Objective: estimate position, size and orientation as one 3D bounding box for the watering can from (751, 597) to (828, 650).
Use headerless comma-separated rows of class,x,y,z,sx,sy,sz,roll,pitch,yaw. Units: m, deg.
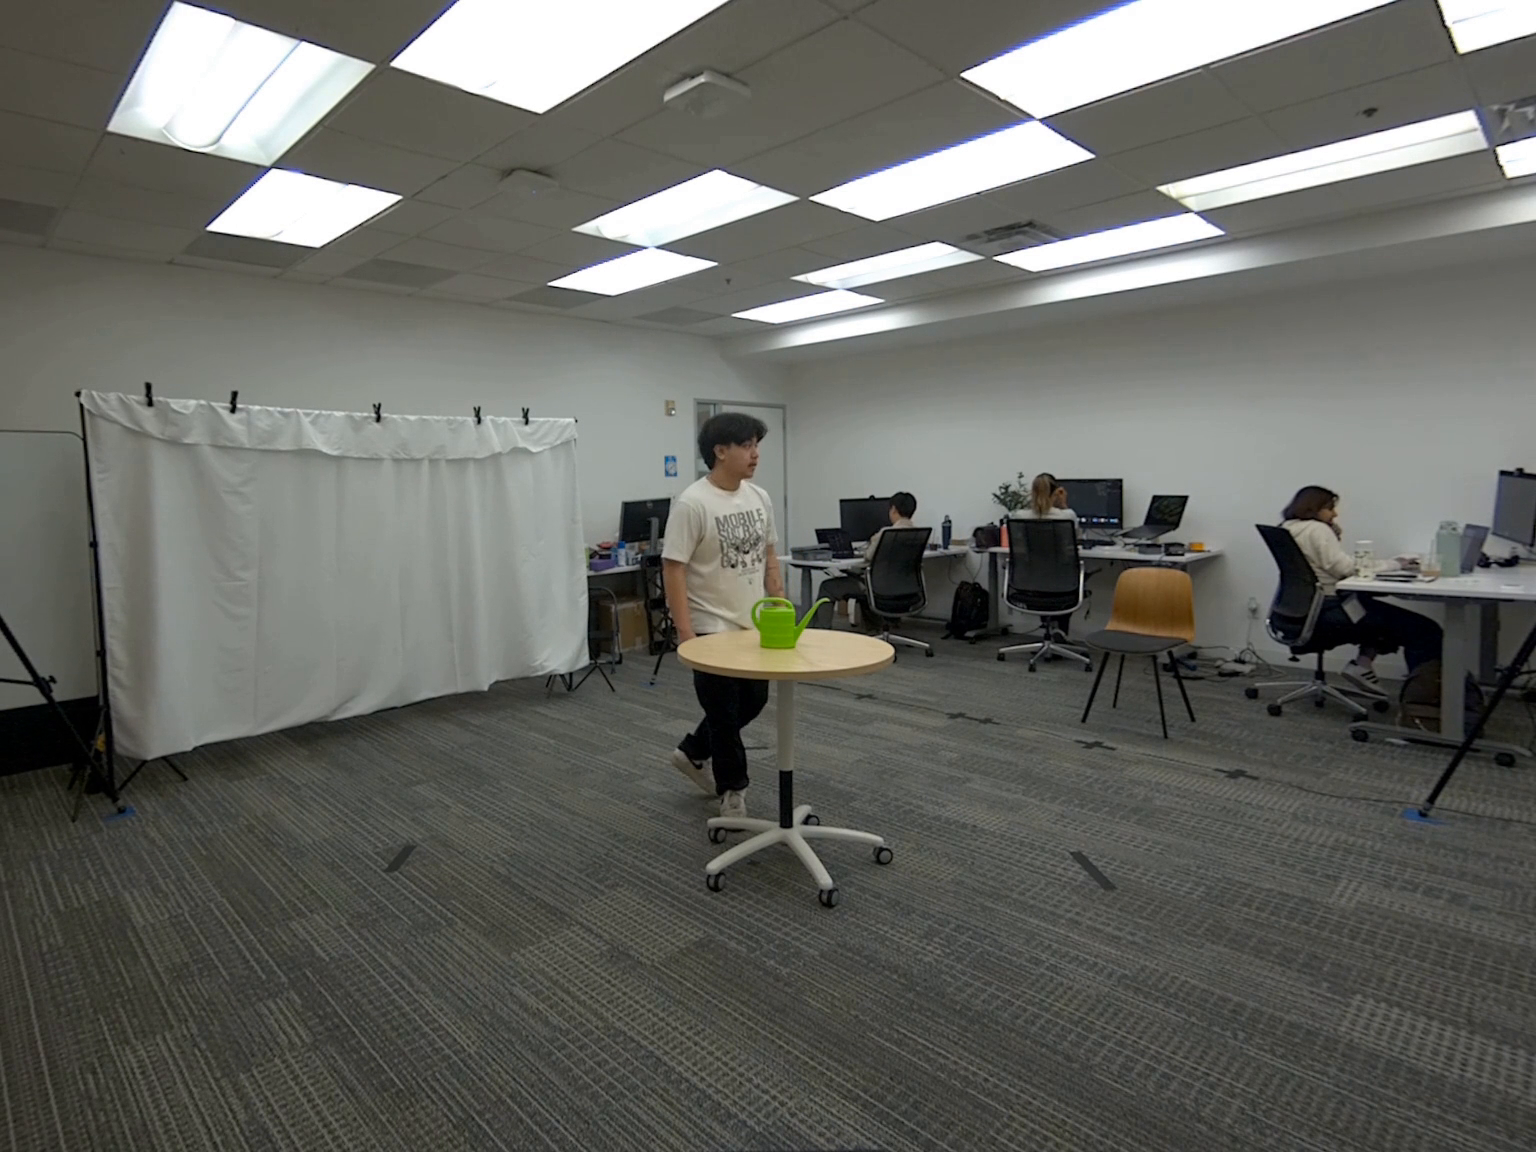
watering can,0.073,0.176,3.035,0.286,0.176,0.095,2,4,35
